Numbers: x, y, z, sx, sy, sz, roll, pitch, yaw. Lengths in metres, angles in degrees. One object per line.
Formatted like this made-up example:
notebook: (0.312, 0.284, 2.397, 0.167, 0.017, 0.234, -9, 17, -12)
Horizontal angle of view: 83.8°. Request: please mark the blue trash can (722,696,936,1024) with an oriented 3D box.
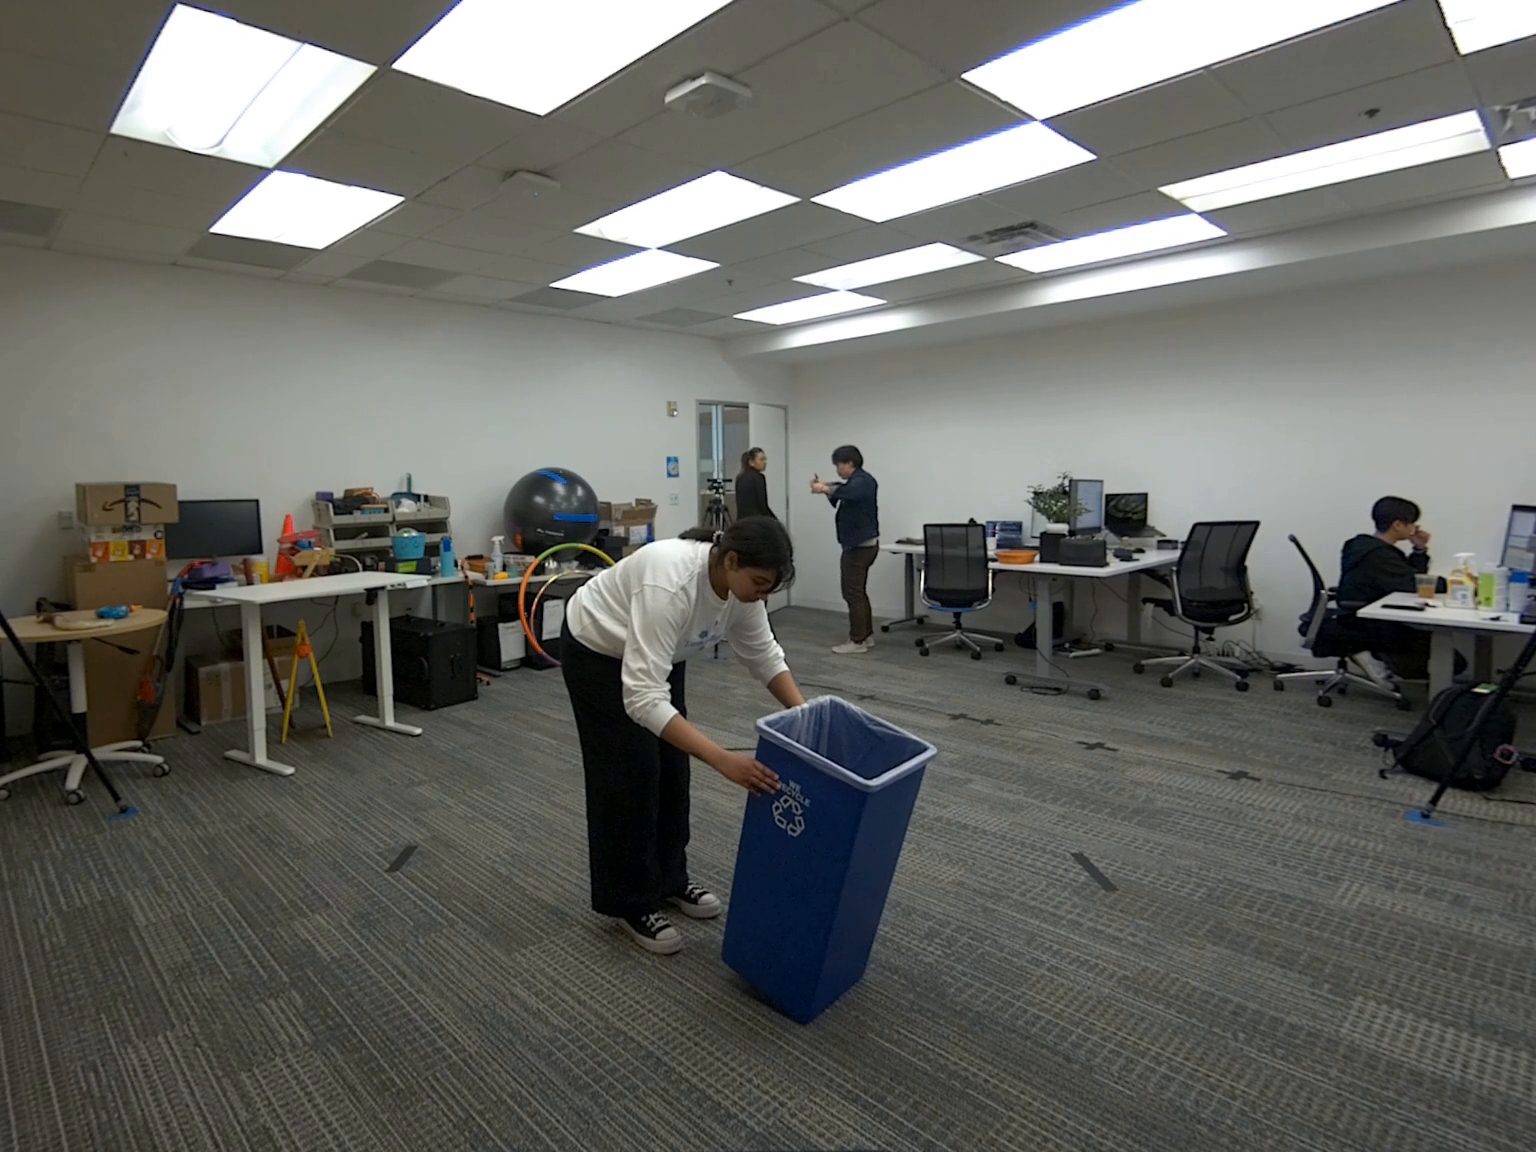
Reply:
blue trash can: (0.150, 0.752, 2.305, 0.387, 0.707, 0.368, 19, 14, 35)
